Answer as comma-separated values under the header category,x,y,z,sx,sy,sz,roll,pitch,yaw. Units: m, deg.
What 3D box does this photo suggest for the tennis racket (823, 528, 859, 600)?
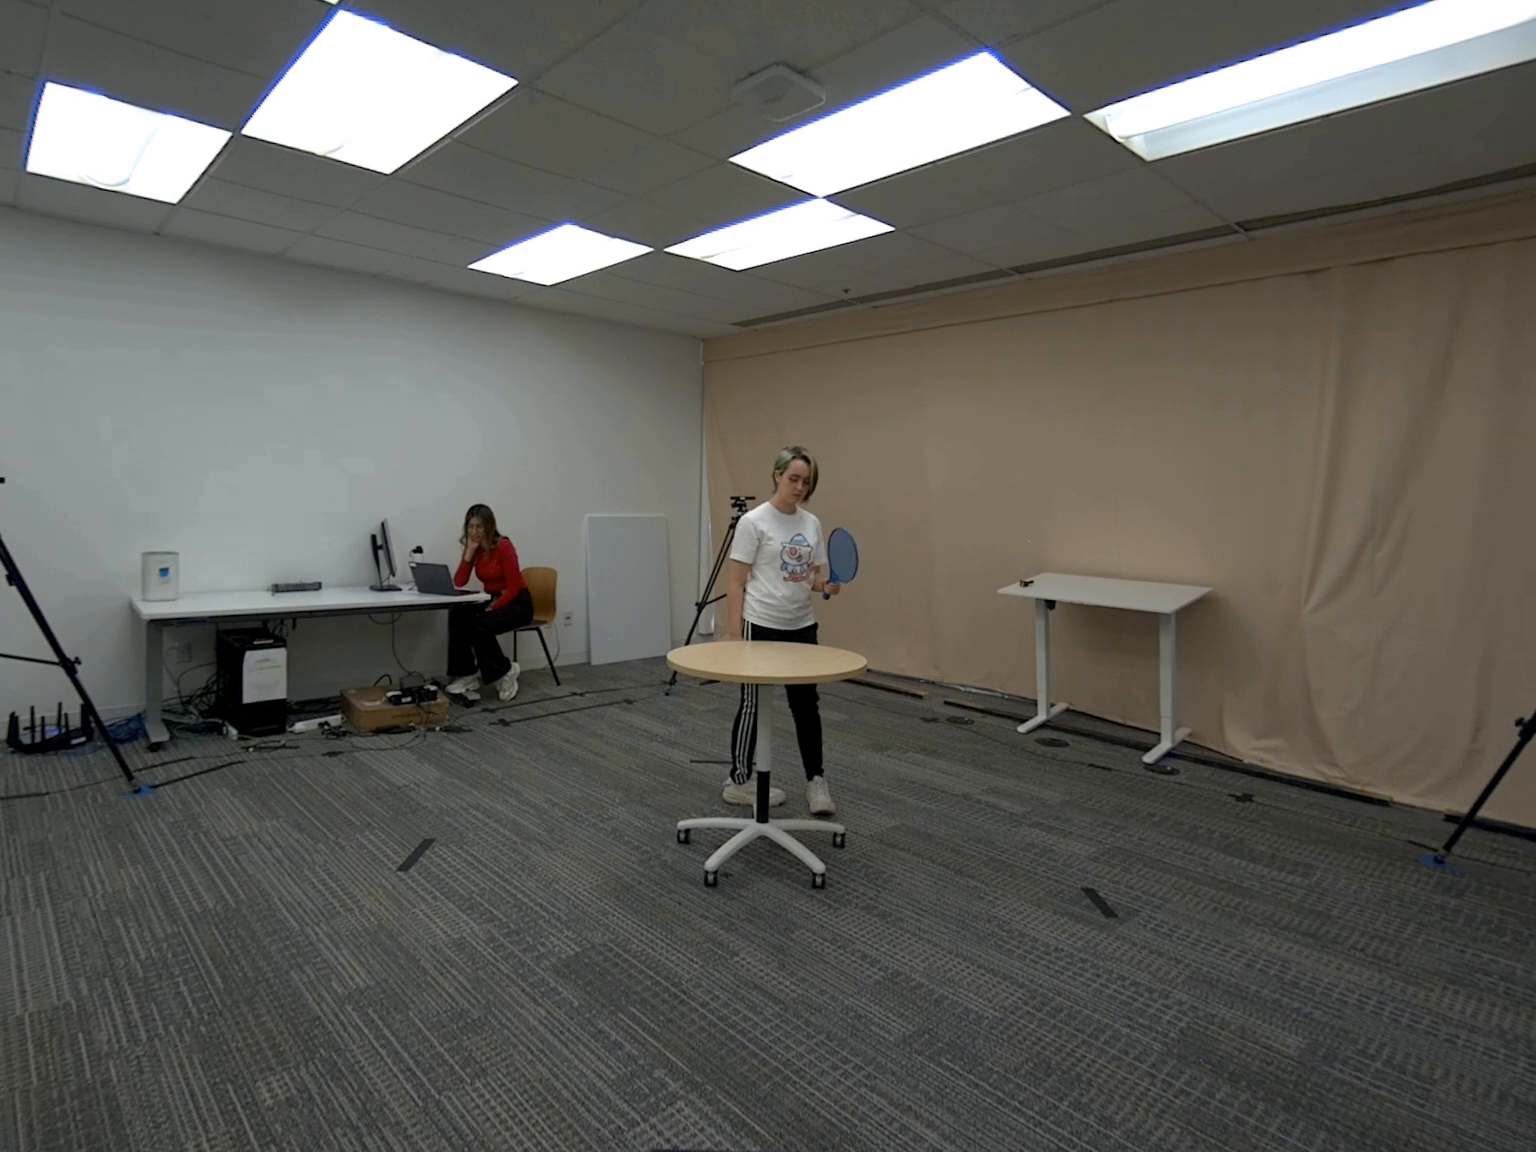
category,x,y,z,sx,sy,sz,roll,pitch,yaw
tennis racket,0.278,-0.041,3.547,0.031,0.219,0.426,-15,-31,-22
